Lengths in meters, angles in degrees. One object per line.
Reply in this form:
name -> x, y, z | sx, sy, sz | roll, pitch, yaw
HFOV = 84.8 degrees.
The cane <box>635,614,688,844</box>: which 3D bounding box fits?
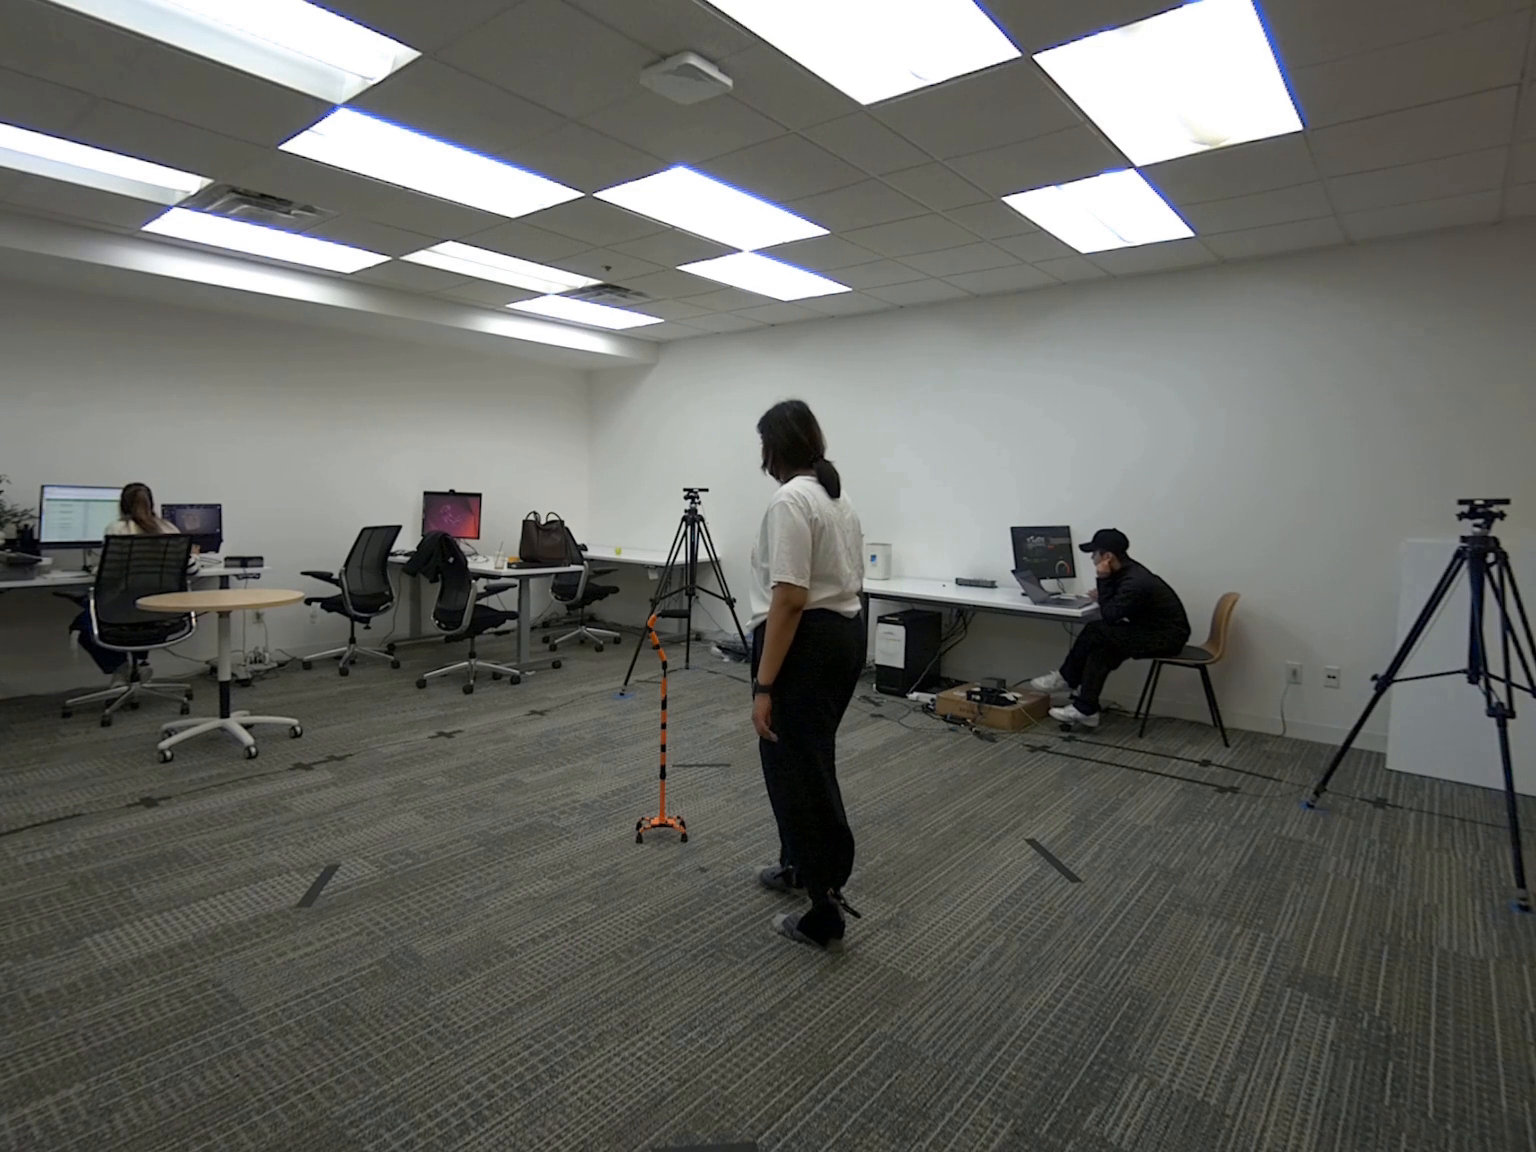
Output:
cane -> -0.428, 0.589, 3.386 | 0.205, 0.905, 0.153 | 1, 3, -7
